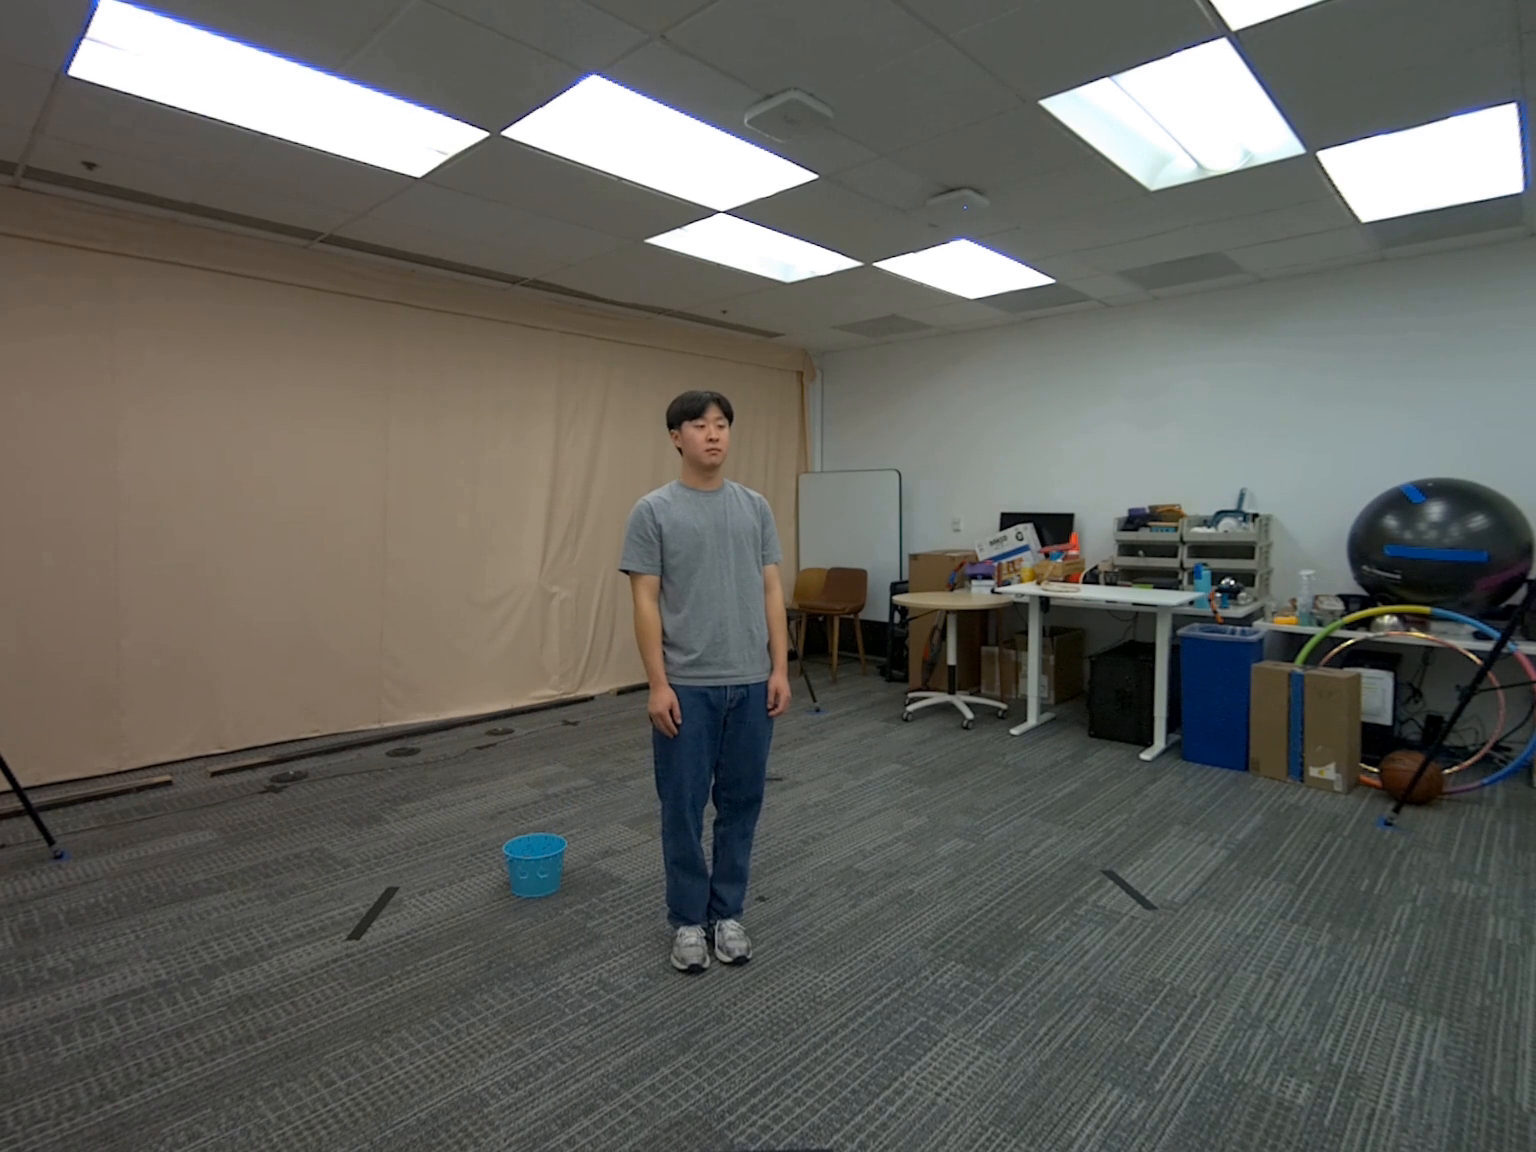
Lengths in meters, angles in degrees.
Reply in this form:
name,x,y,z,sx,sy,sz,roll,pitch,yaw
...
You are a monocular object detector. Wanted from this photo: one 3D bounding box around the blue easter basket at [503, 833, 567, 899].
name,x,y,z,sx,sy,sz,roll,pitch,yaw
blue easter basket,-0.855,1.064,3.103,0.243,0.155,0.244,0,4,-2
